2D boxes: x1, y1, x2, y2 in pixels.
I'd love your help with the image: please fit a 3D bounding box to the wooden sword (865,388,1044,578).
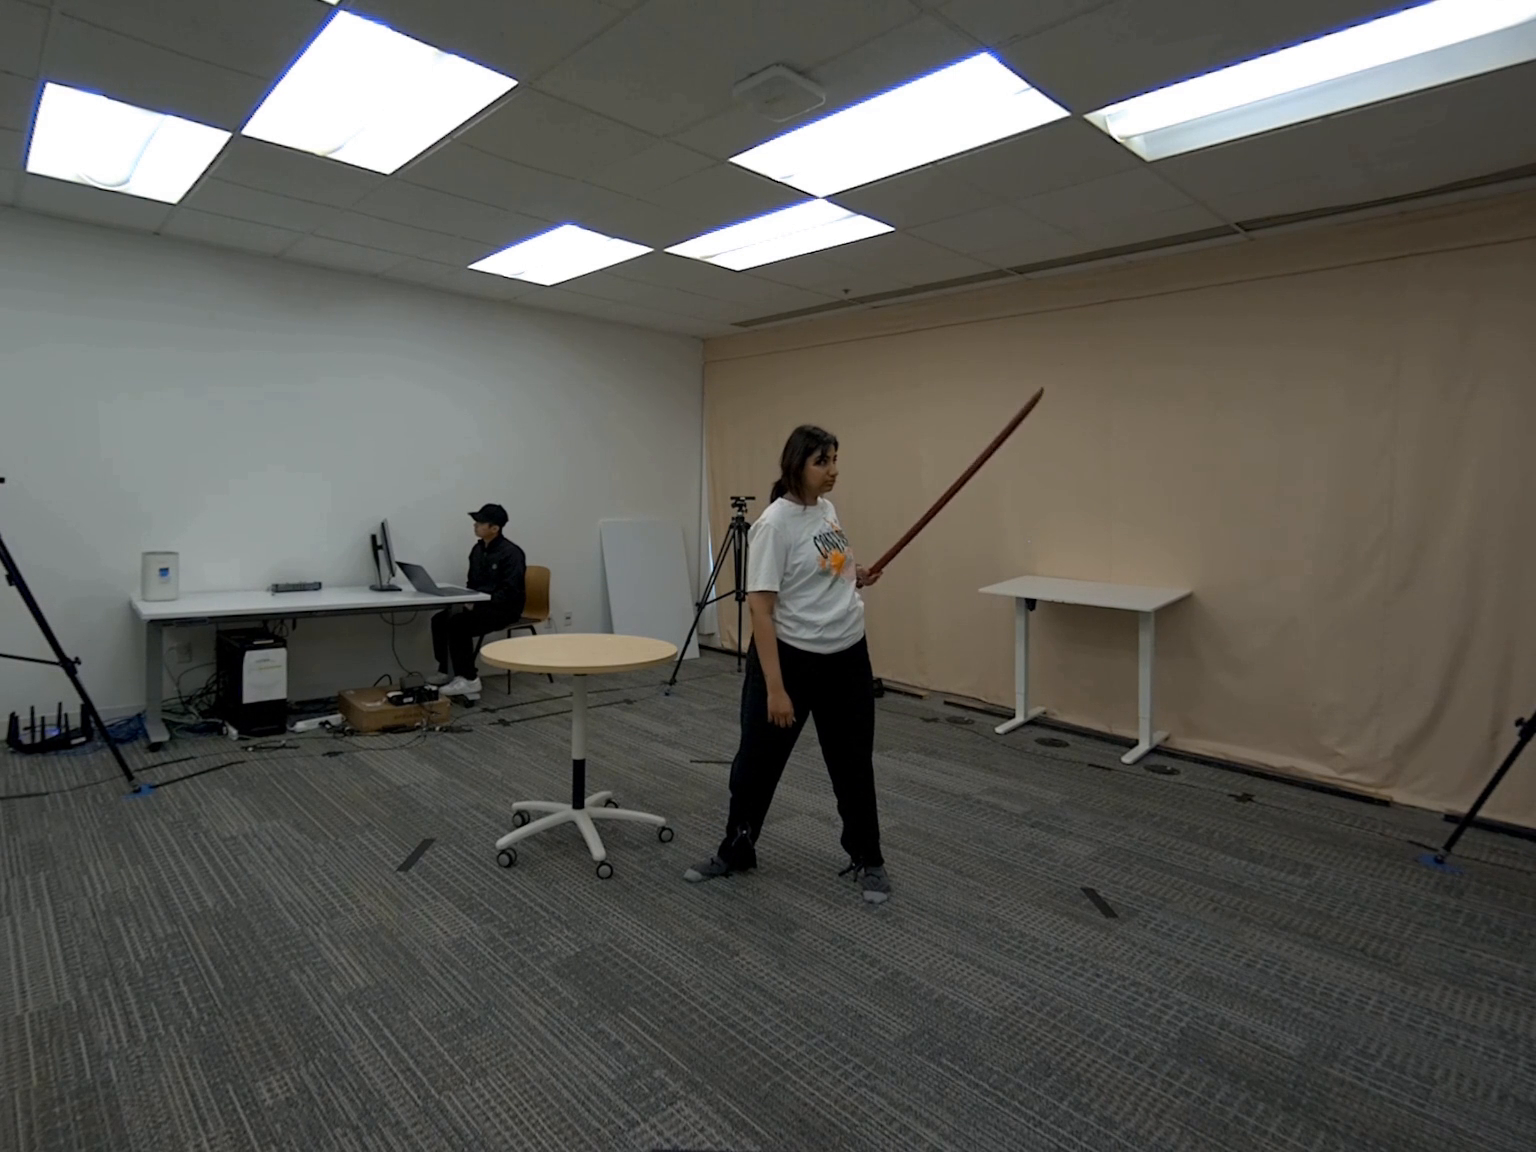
[{"bbox_3d":[0.574,-0.252,2.797,0.024,0.051,1.021,-42,-7,-46],"label":"wooden sword"}]
